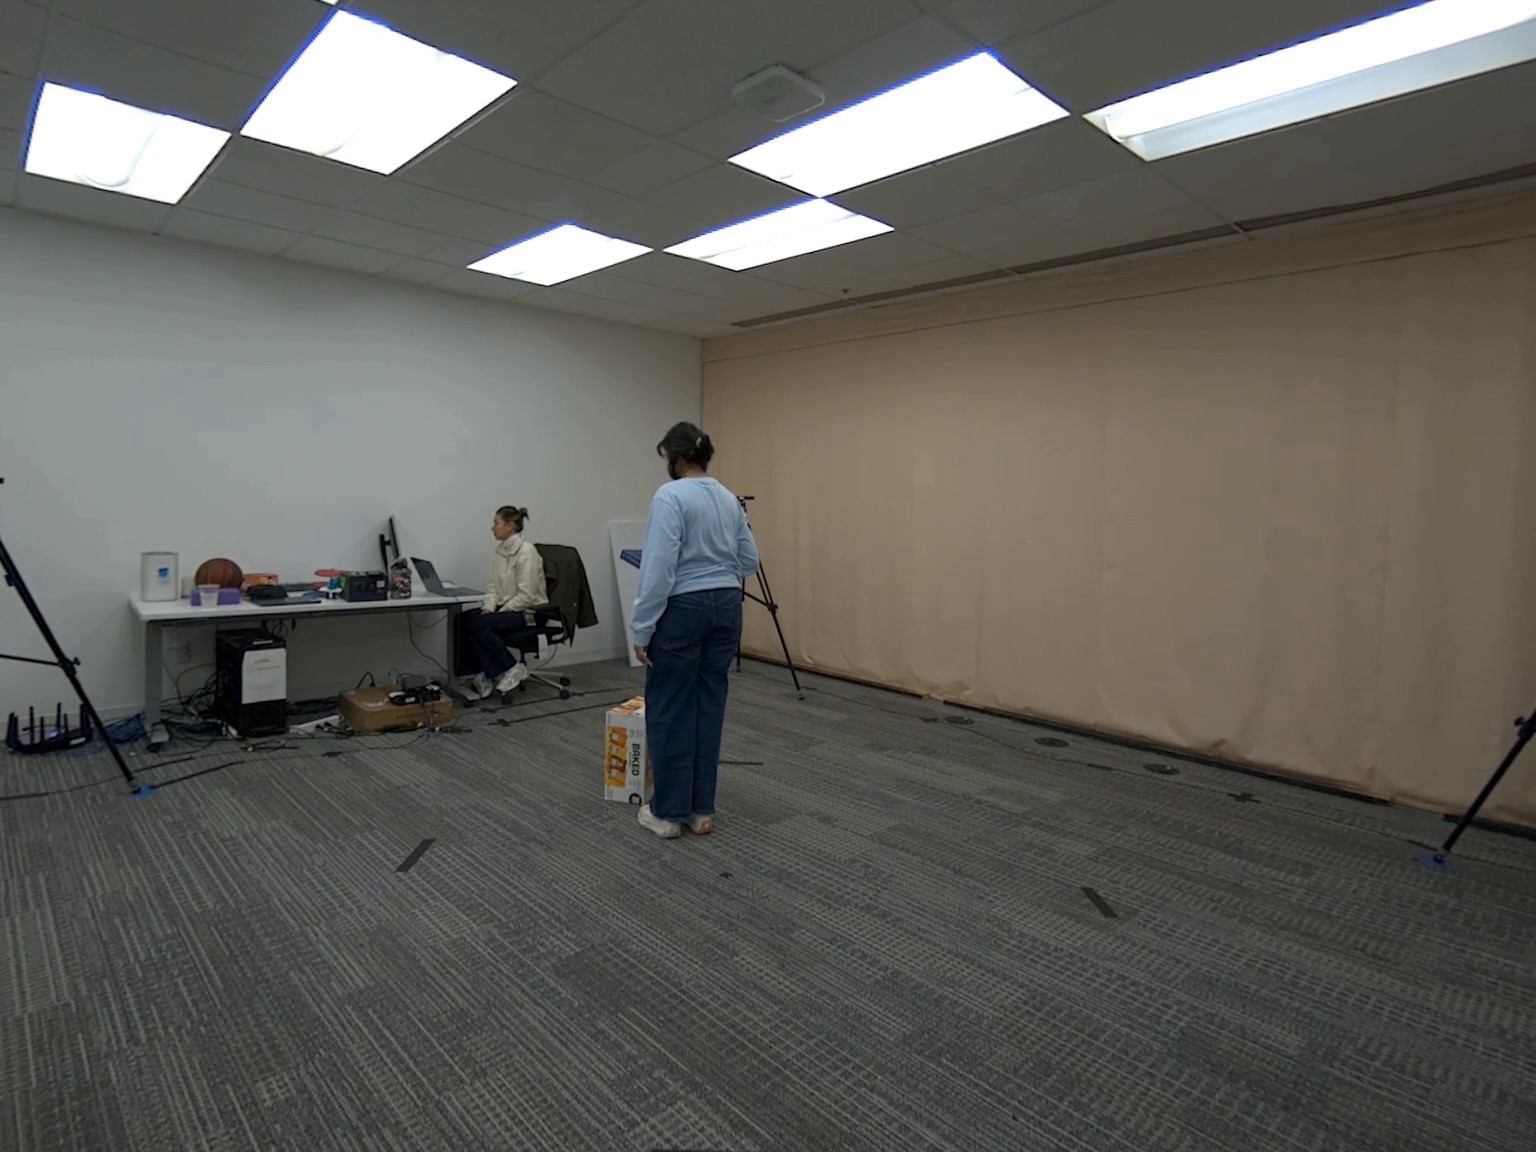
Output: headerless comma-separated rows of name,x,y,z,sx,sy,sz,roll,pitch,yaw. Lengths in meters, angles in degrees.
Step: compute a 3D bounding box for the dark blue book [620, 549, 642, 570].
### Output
dark blue book,-0.520,-0.053,3.699,0.253,0.045,0.159,25,18,40
